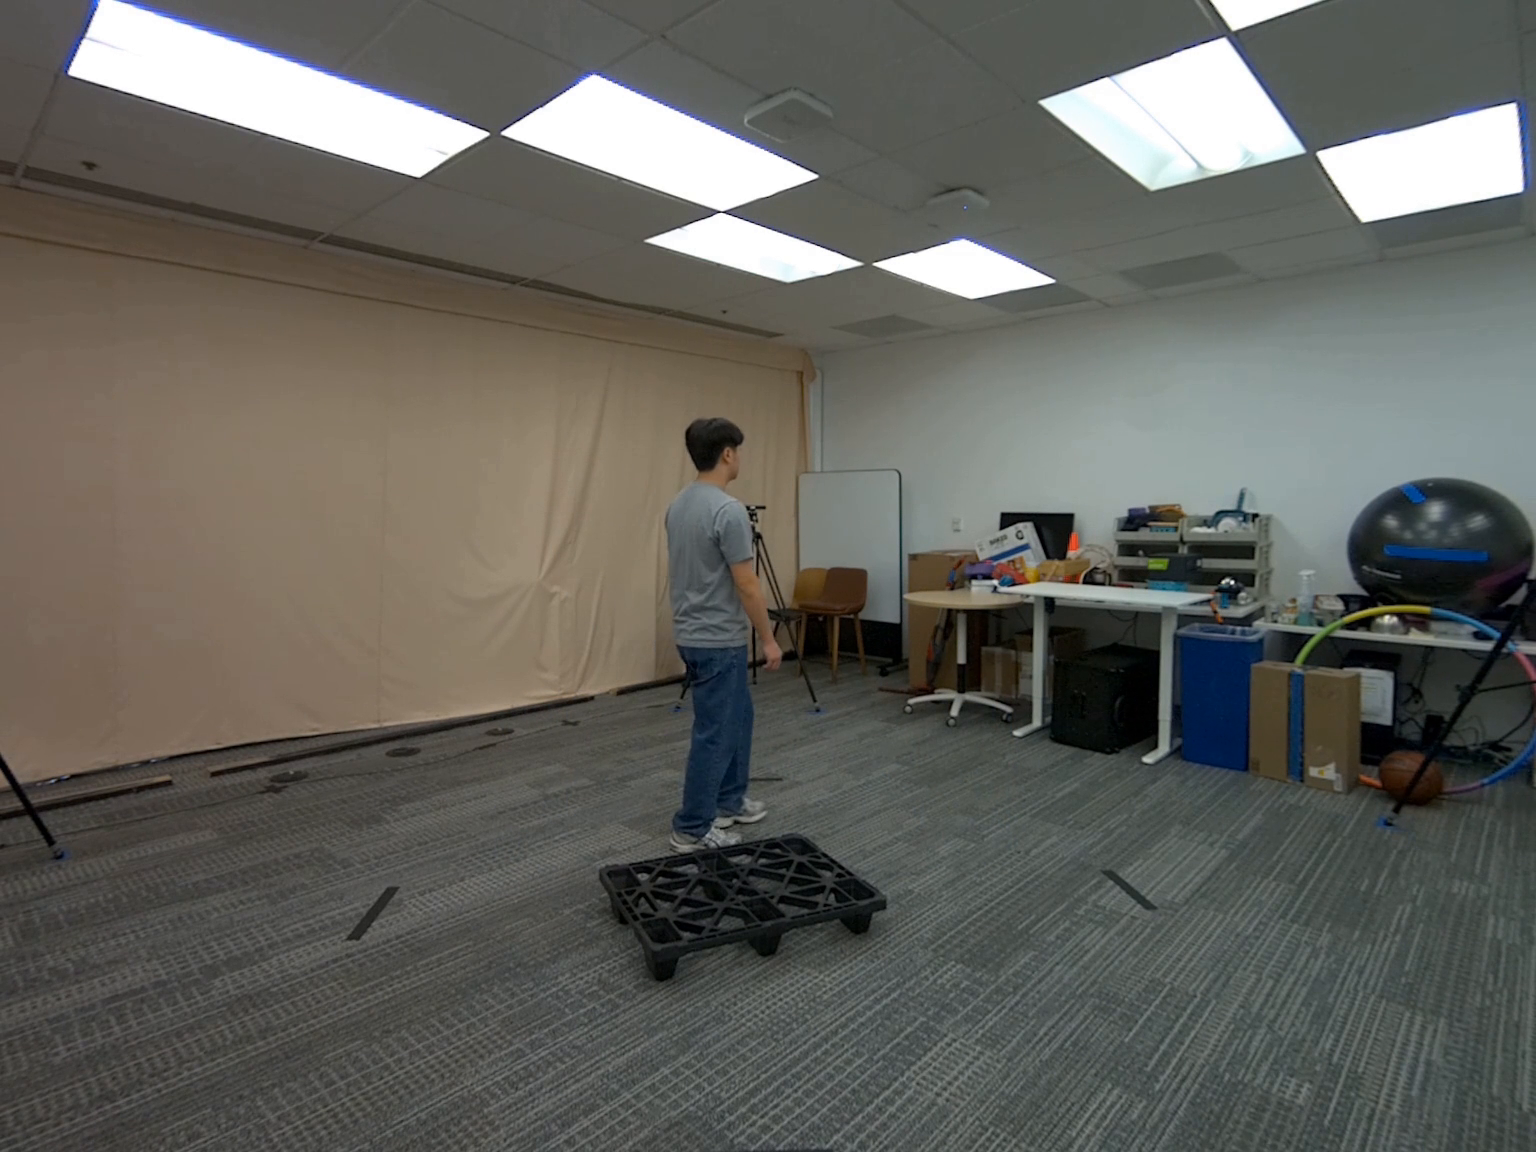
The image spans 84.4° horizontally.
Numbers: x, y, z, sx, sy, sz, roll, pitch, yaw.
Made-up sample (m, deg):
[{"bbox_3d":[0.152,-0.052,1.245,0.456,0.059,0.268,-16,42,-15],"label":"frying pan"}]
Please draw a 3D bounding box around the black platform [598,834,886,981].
[{"bbox_3d":[-0.103,1.090,2.817,0.787,0.143,0.621,-2,4,-25],"label":"black platform"}]
